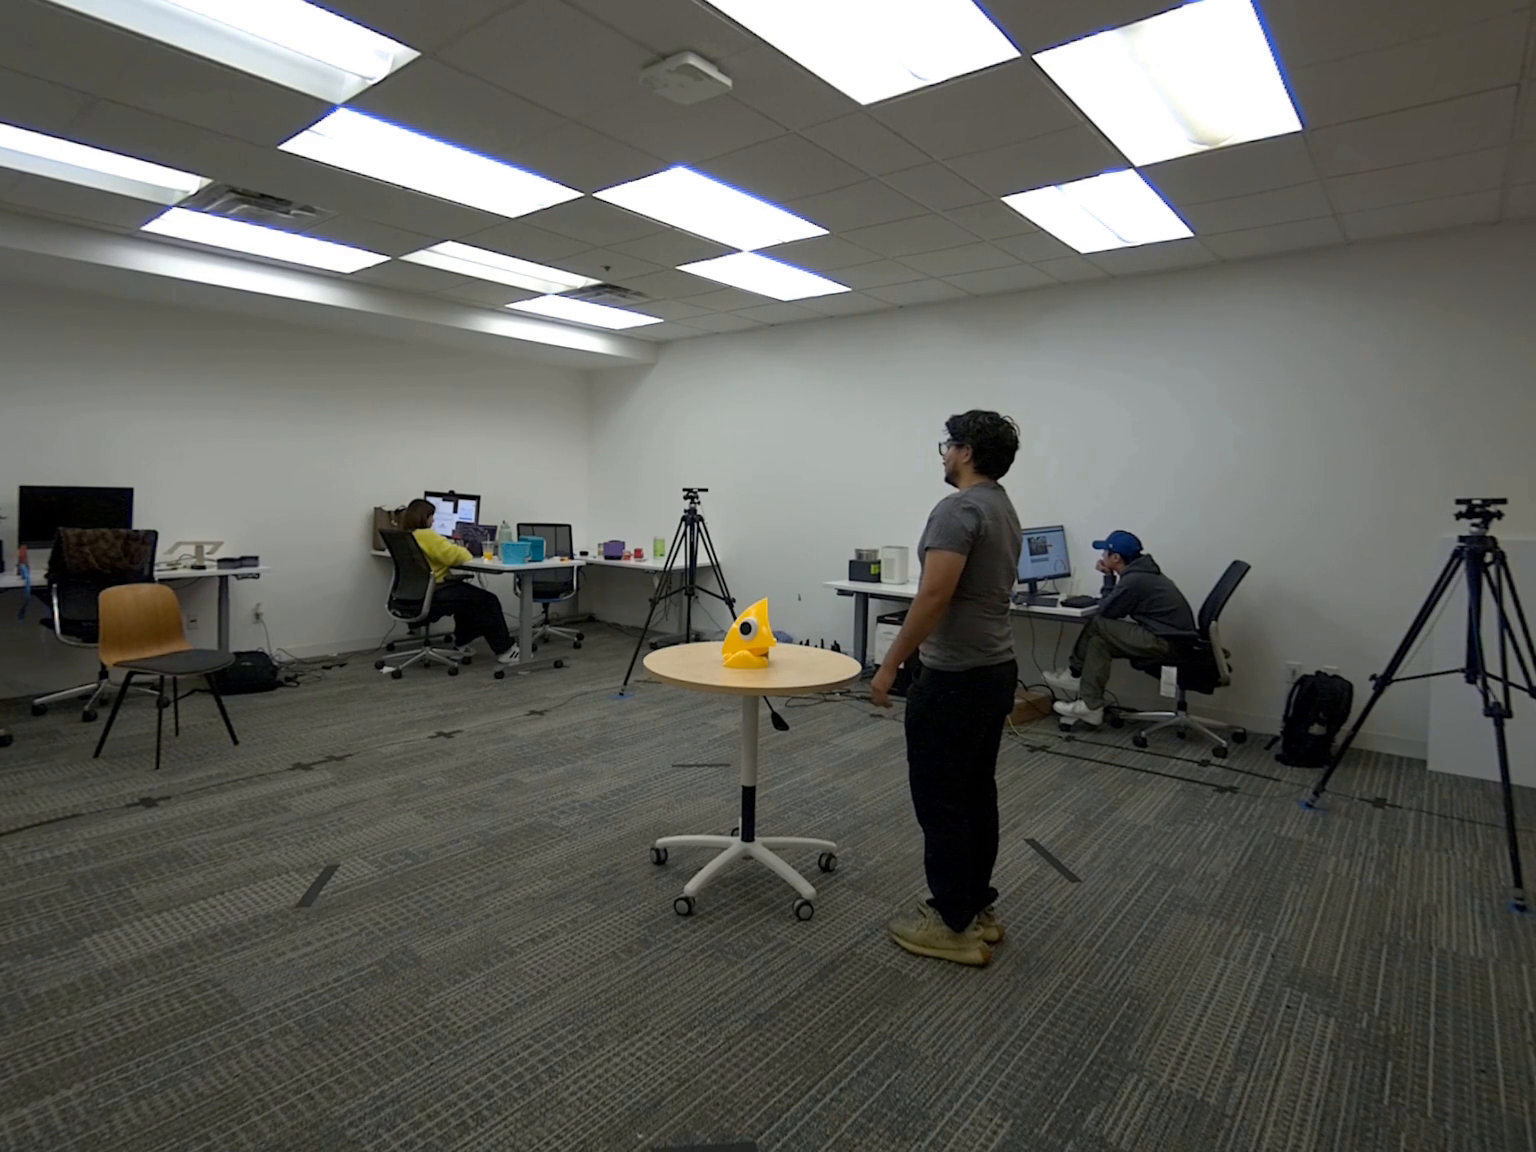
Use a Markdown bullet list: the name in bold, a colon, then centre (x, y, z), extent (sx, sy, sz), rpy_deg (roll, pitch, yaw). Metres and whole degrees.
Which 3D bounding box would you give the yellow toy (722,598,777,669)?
- **yellow toy**: centre (-0.079, 0.188, 2.983), extent (0.193, 0.230, 0.205), rpy_deg (1, 4, 0)
